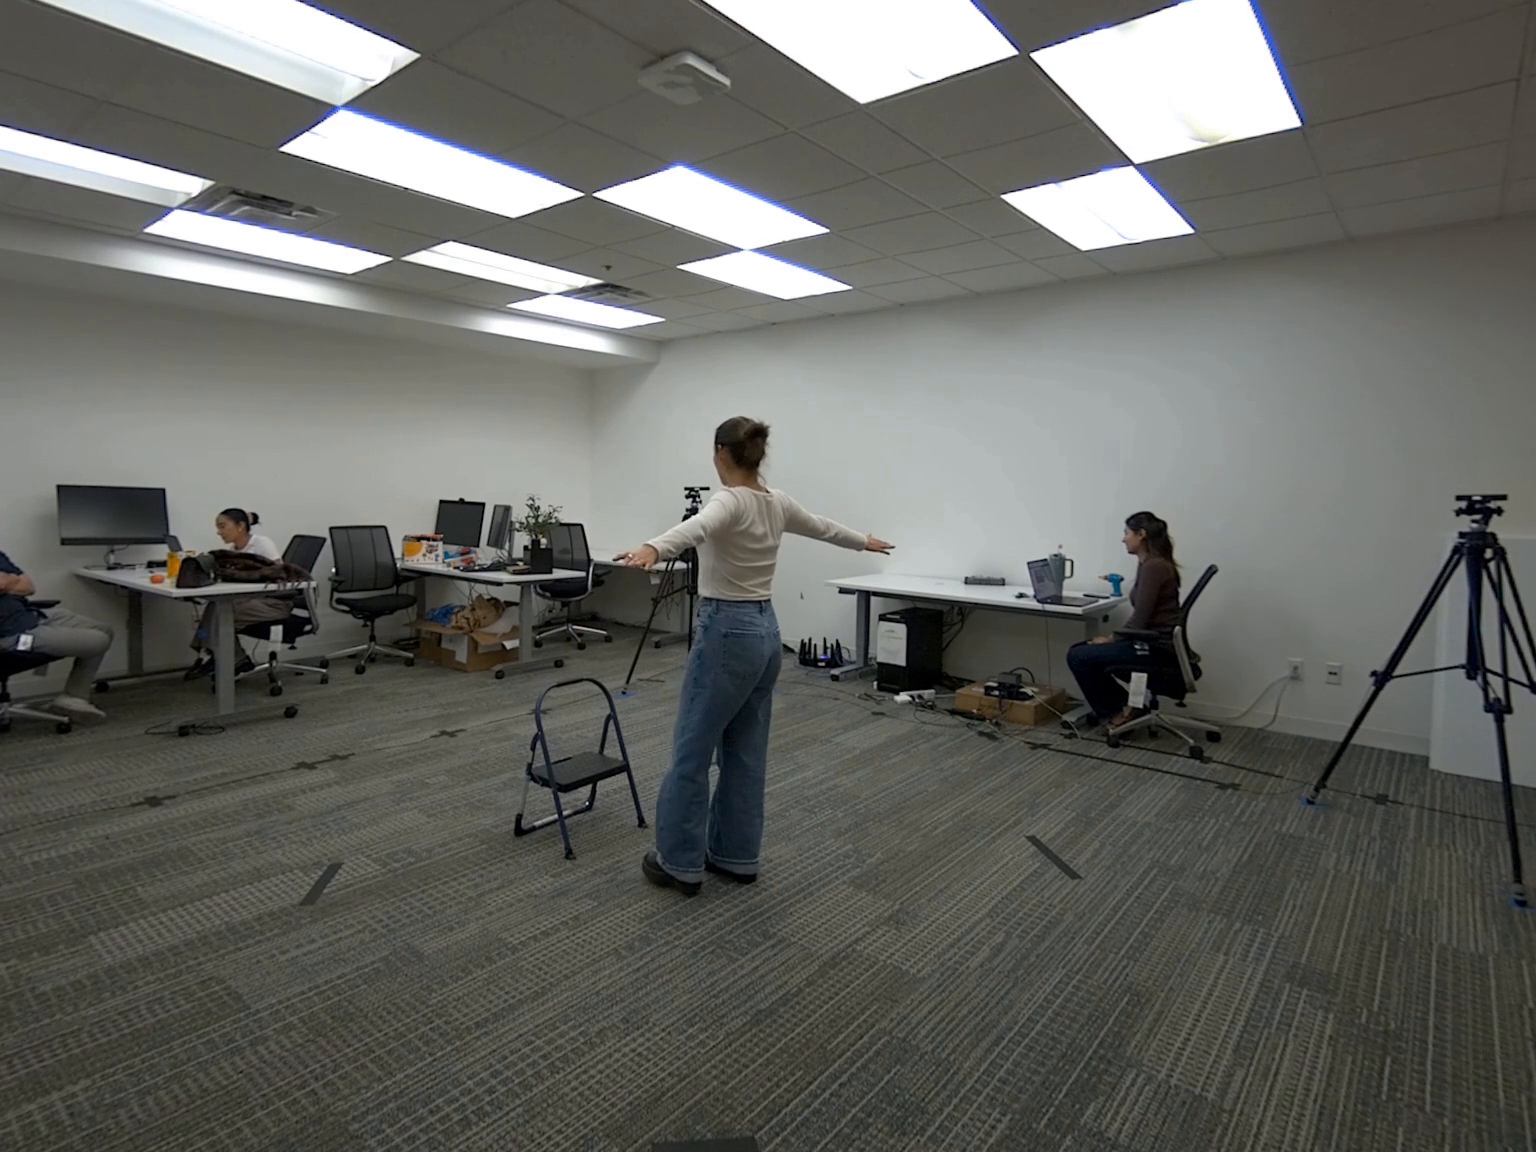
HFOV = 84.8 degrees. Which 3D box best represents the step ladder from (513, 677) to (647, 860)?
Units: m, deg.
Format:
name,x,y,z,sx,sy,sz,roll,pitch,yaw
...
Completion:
name,x,y,z,sx,sy,sz,roll,pitch,yaw
step ladder,-0.760,0.726,3.419,0.360,0.605,0.418,3,4,36
